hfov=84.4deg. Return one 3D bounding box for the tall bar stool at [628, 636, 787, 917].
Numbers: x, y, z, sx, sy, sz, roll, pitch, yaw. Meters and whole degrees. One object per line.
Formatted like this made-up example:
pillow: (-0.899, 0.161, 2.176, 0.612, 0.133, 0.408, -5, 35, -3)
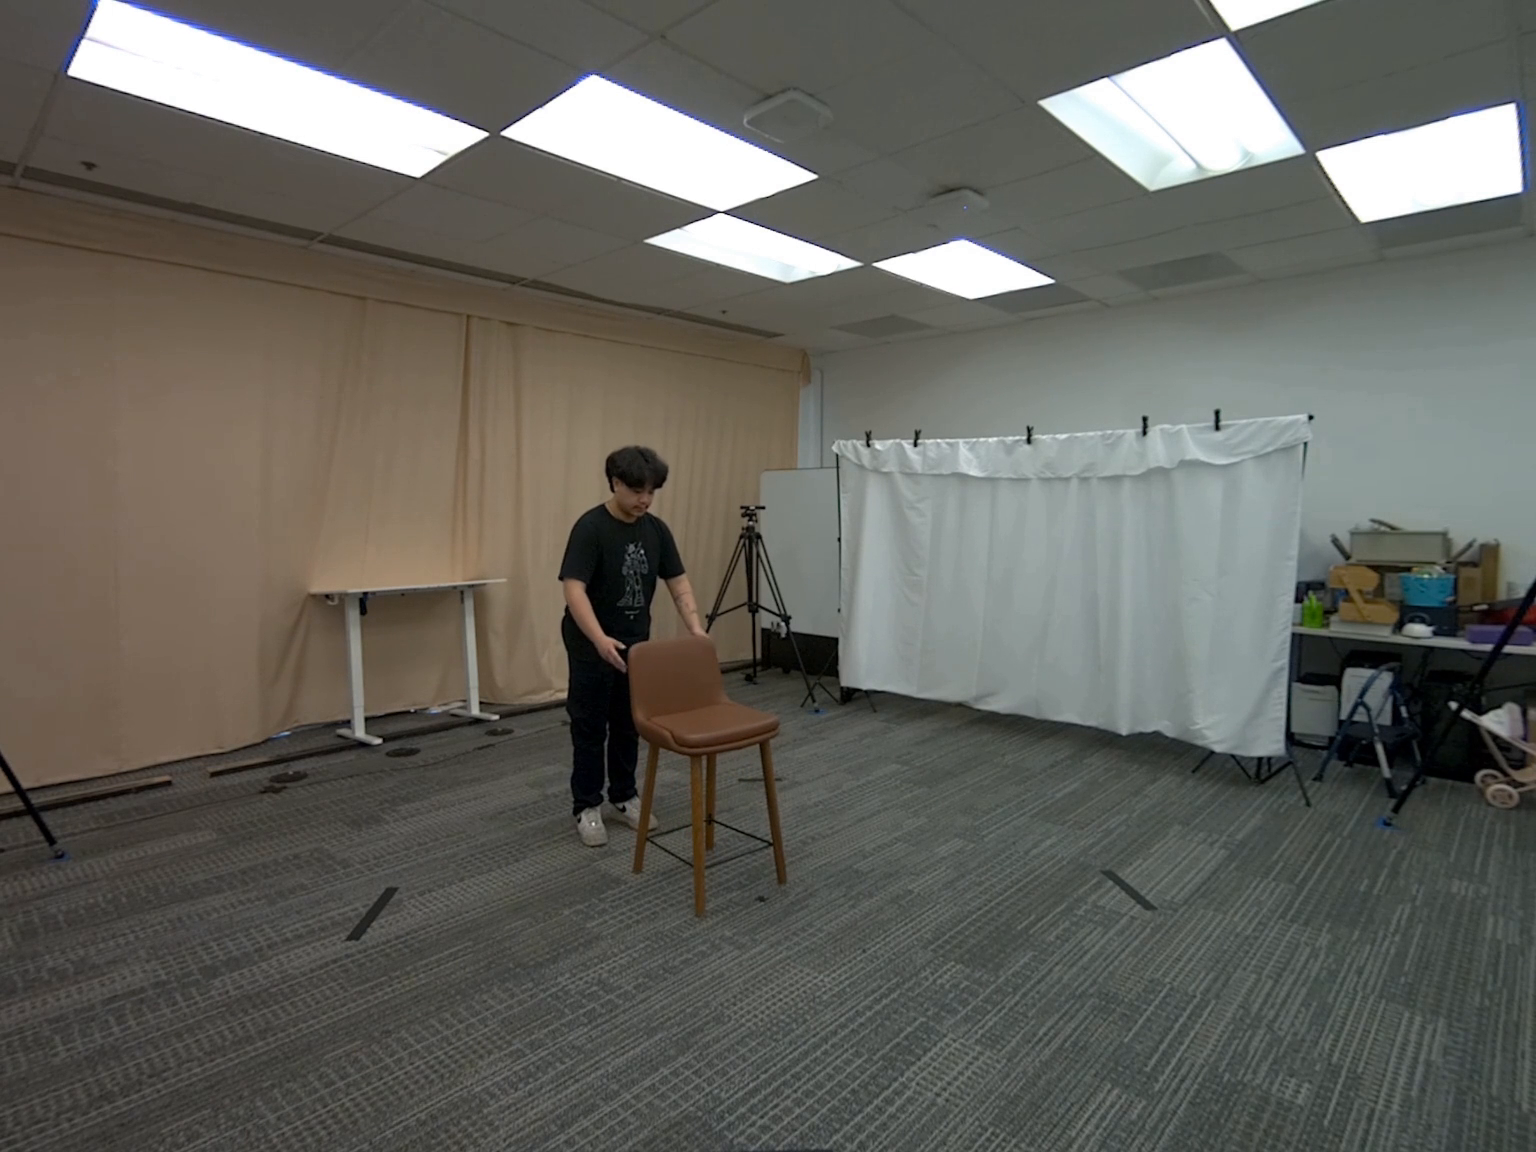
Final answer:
tall bar stool: (-0.237, 0.696, 3.137, 0.443, 0.889, 0.482, -3, 2, -40)
